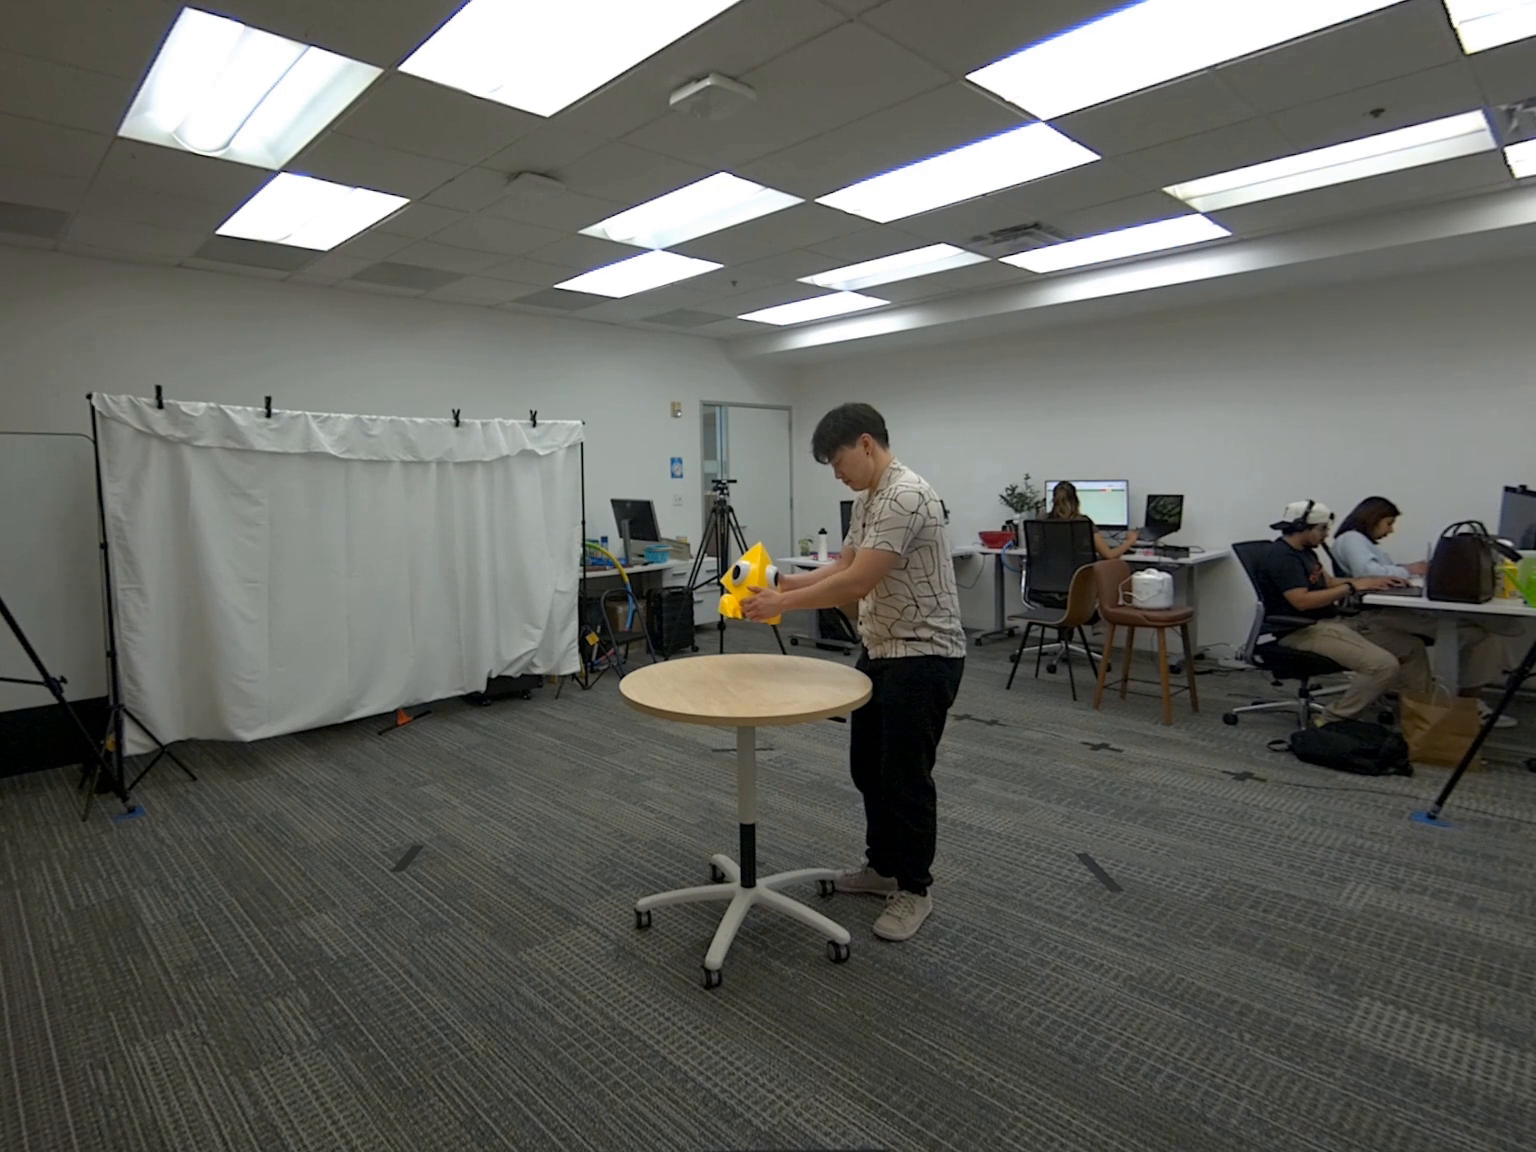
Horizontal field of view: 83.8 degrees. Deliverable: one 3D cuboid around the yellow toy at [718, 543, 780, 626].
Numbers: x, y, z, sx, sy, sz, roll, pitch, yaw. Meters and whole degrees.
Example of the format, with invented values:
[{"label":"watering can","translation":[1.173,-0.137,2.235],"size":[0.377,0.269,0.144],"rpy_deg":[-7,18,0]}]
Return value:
[{"label":"yellow toy","translation":[-0.032,0.012,2.691],"size":[0.203,0.230,0.195],"rpy_deg":[10,6,-7]}]
